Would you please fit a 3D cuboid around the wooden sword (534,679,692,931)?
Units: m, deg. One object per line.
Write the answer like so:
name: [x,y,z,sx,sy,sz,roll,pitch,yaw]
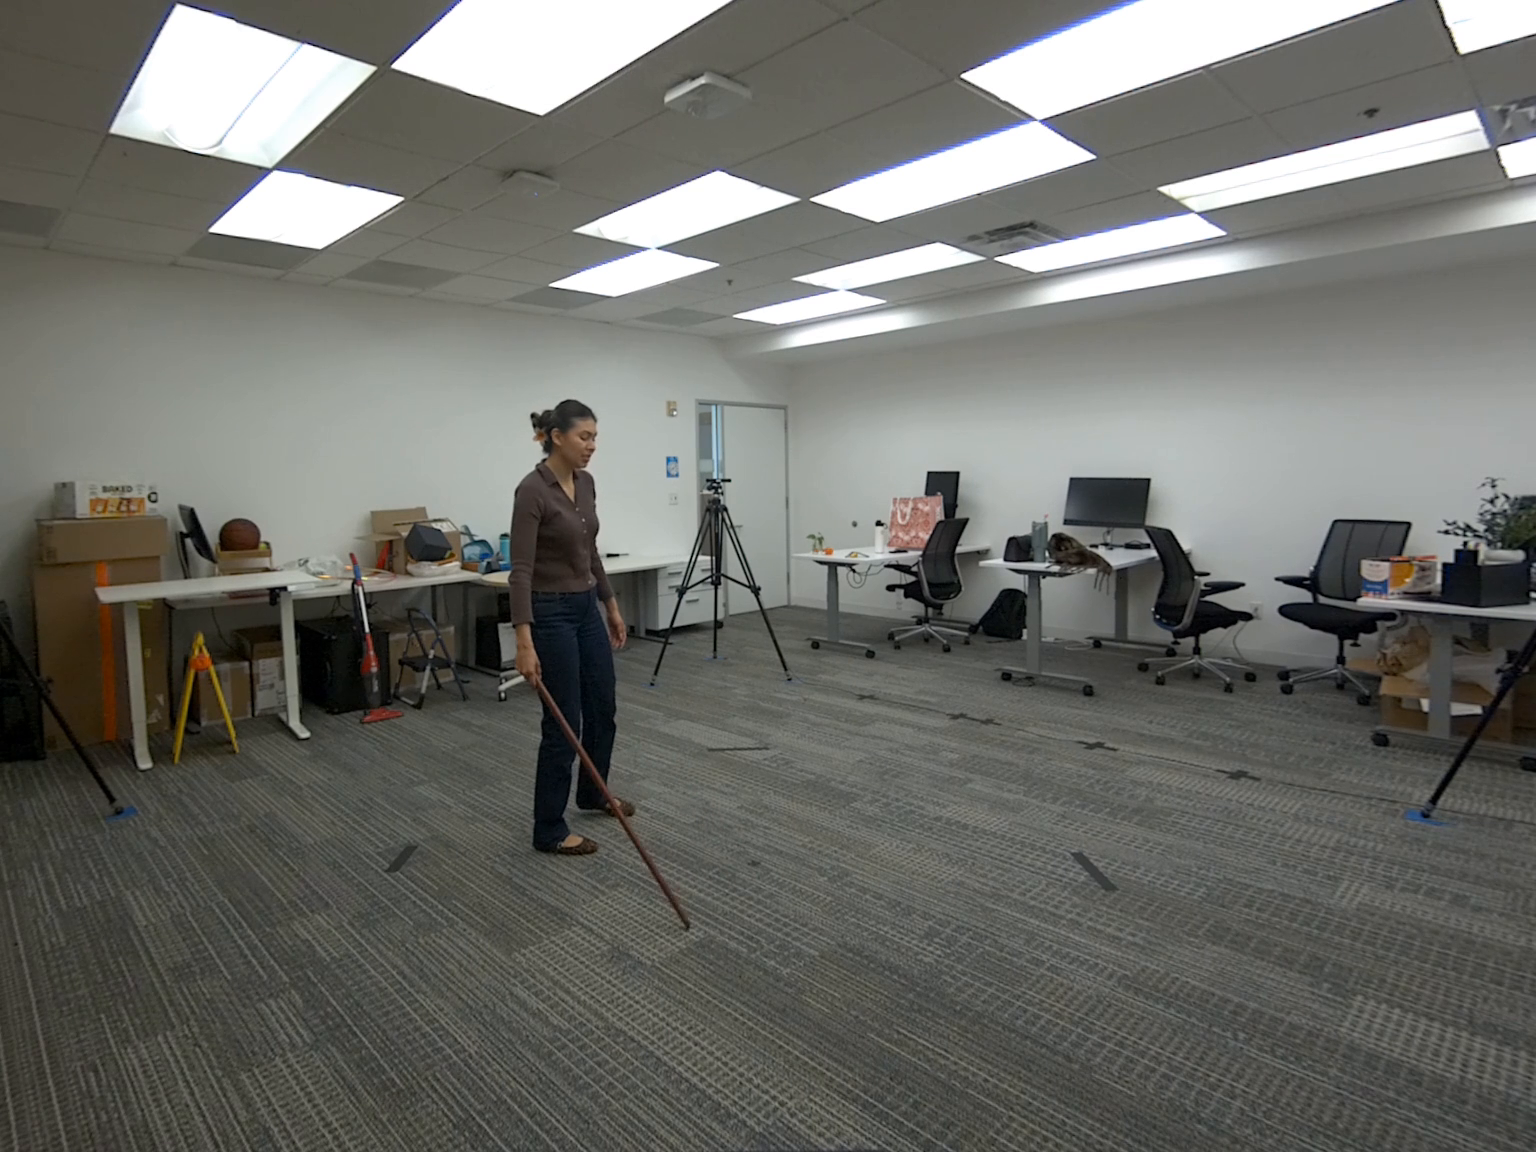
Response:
wooden sword: [-0.523,0.684,2.782,0.024,1.044,0.051,-31,-15,-20]
